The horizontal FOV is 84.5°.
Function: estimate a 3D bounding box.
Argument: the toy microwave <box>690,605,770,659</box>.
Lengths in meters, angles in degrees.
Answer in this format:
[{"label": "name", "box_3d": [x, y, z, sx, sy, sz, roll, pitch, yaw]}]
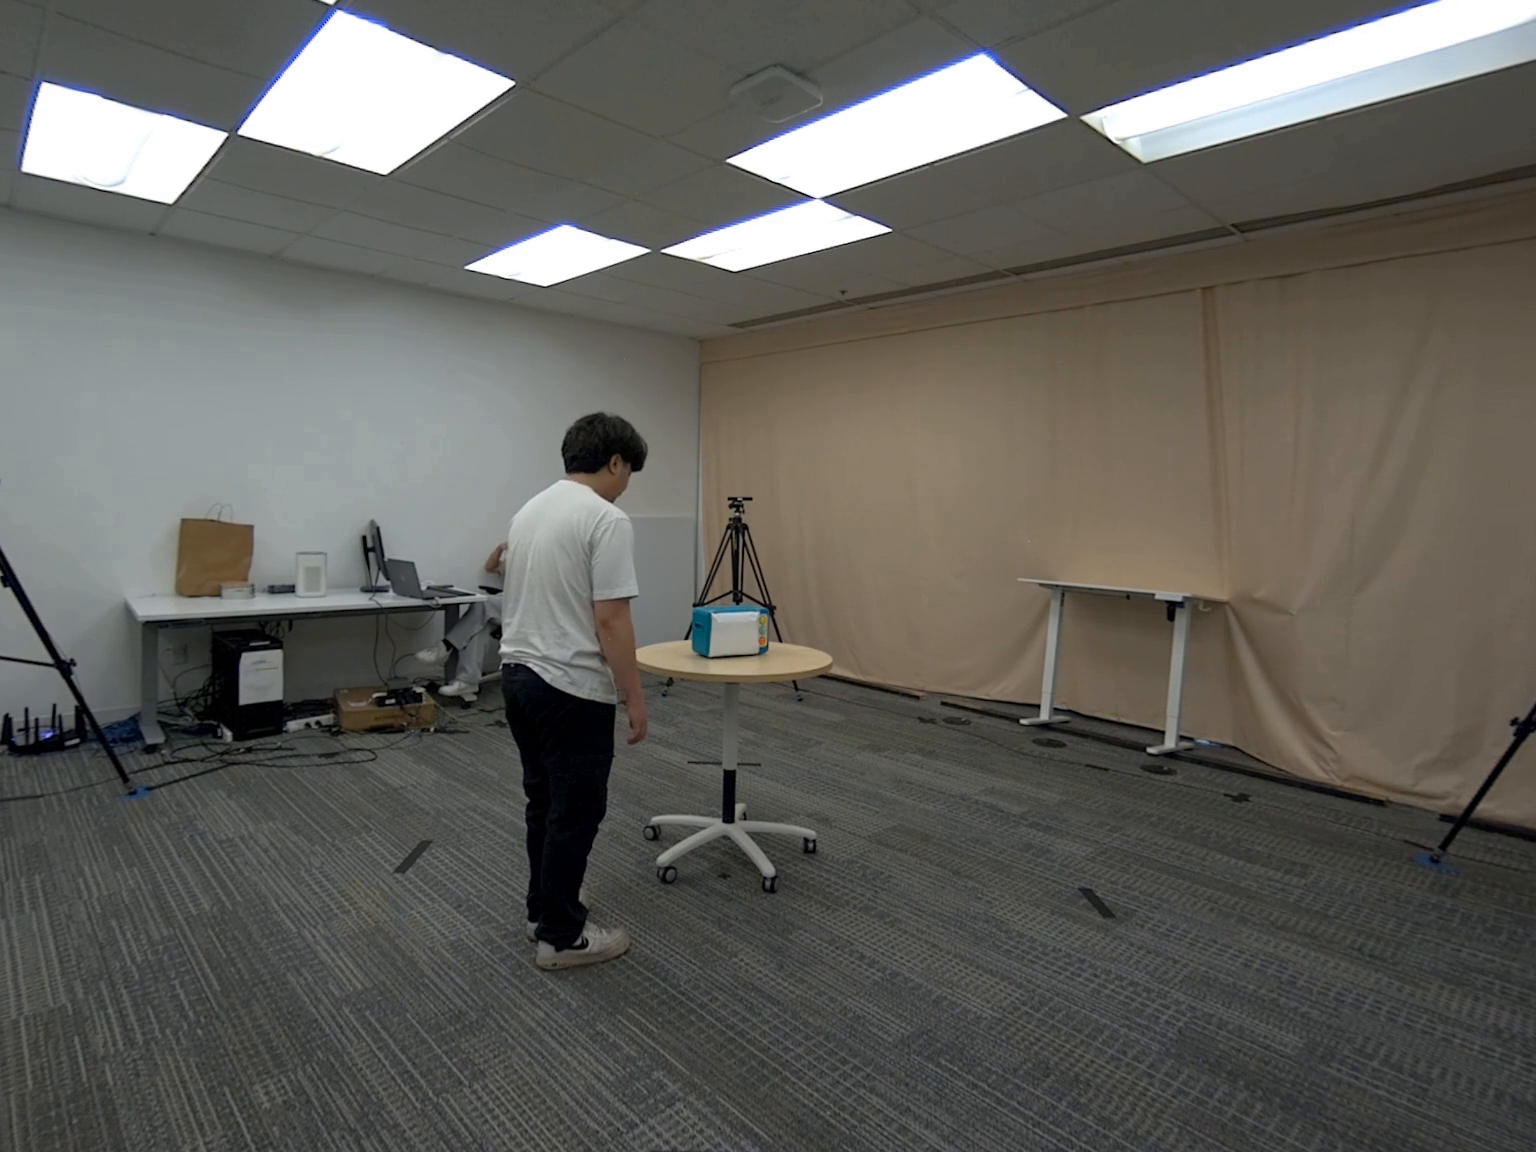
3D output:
[{"label": "toy microwave", "box_3d": [-0.144, 0.212, 3.234, 0.280, 0.184, 0.156, 0, 4, -30]}]
